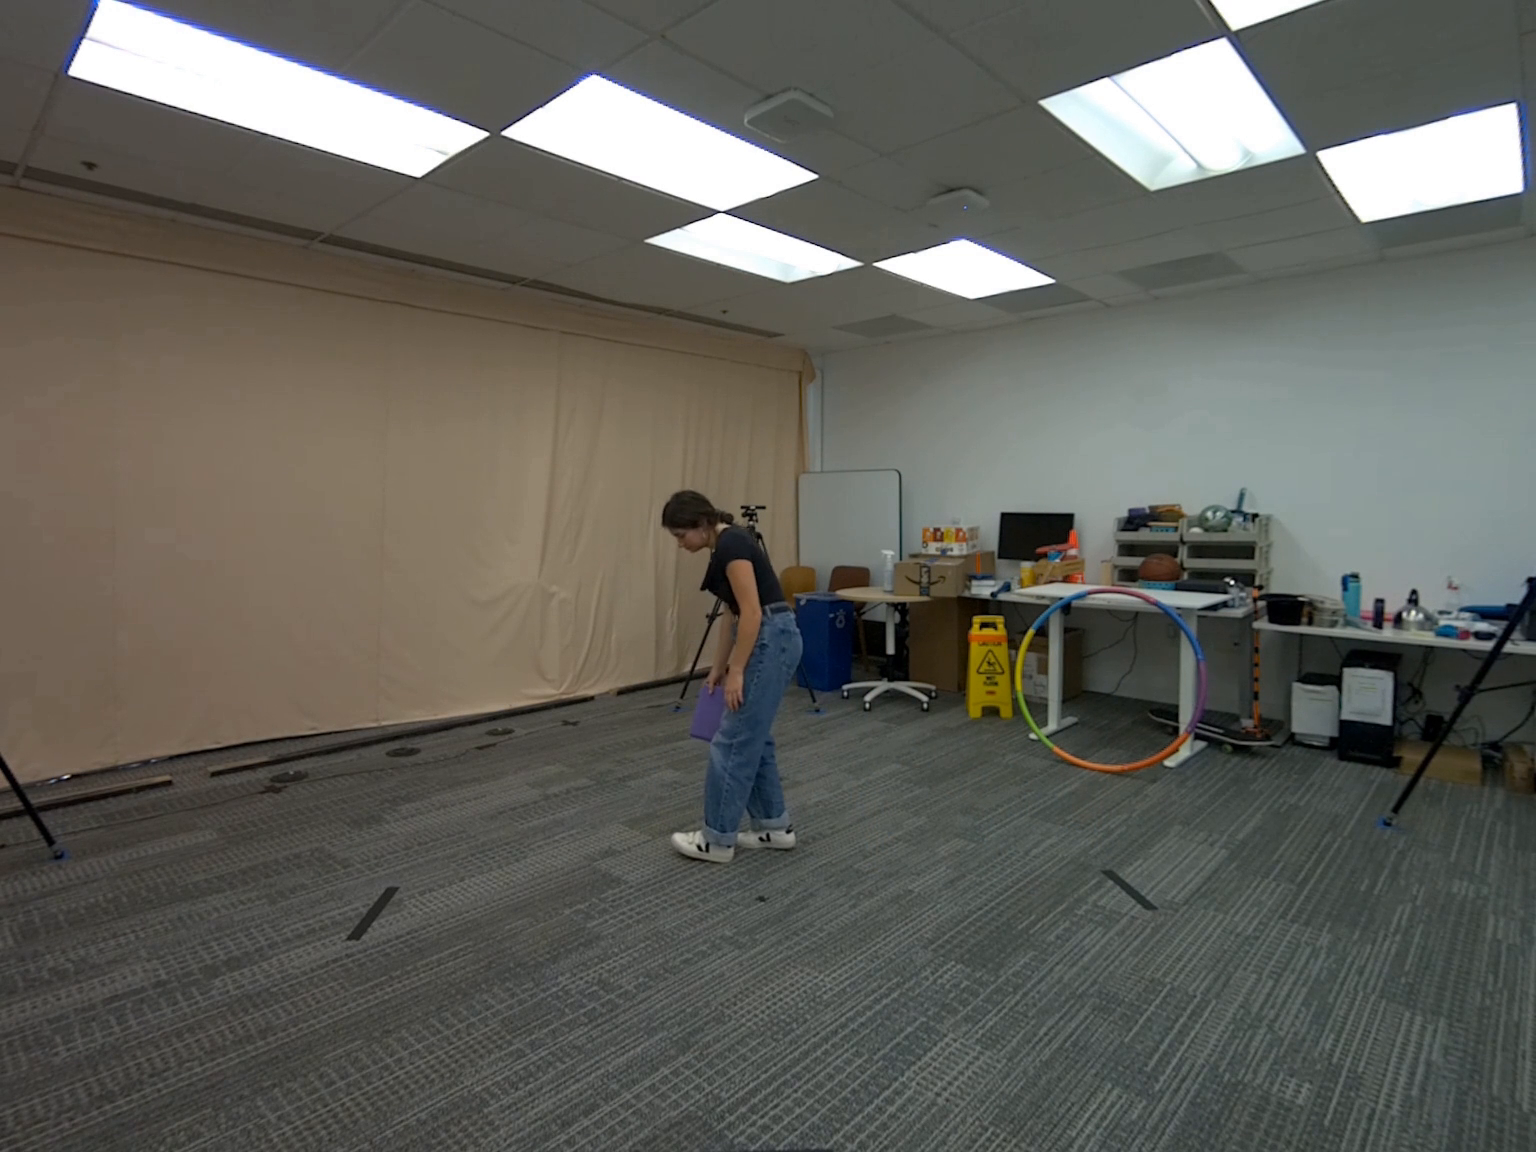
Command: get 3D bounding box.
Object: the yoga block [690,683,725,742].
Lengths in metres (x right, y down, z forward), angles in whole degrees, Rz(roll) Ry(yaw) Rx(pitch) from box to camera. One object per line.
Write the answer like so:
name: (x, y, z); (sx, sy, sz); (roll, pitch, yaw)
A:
yoga block: (-0.232, 0.591, 3.592); (0.150, 0.231, 0.075); (10, -17, 3)
